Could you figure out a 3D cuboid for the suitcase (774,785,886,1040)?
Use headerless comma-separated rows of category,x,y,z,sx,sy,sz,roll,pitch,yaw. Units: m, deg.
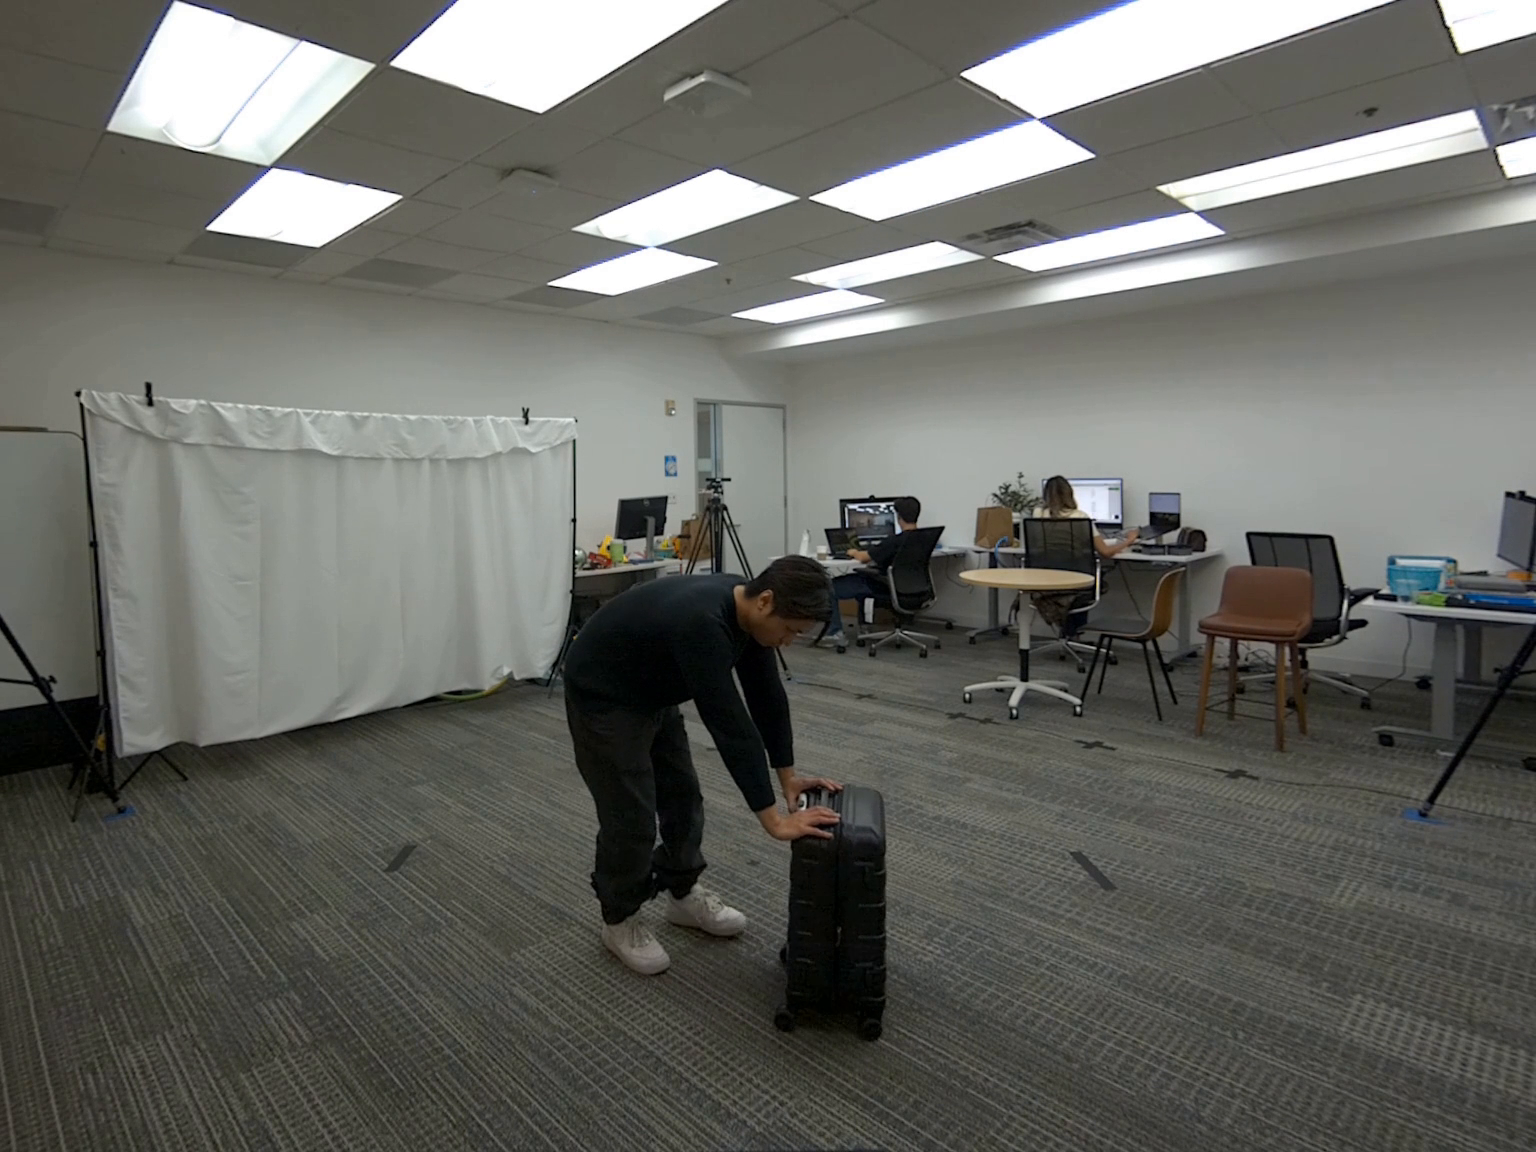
suitcase,0.186,0.856,2.282,0.250,0.547,0.373,2,5,8
